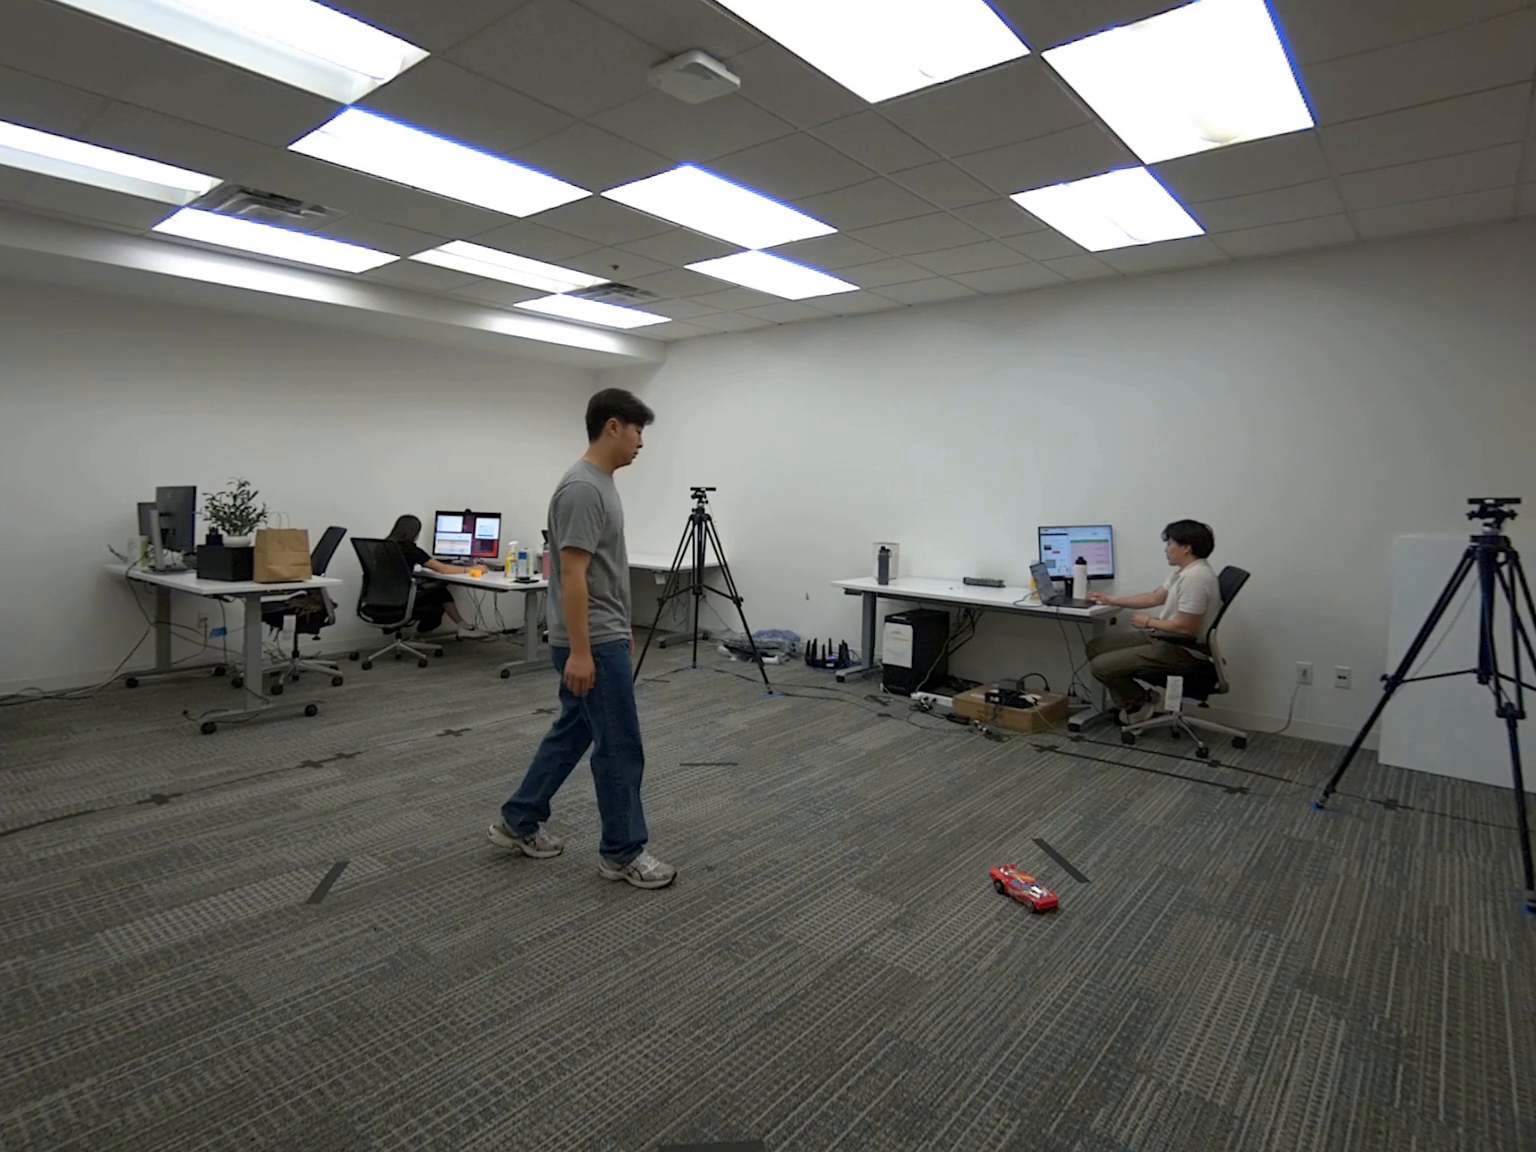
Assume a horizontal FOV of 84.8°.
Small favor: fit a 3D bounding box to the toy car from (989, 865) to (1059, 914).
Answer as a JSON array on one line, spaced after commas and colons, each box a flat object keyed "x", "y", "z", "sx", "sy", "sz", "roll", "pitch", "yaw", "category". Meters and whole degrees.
[{"x": 0.876, "y": 1.081, "z": 2.942, "sx": 0.127, "sy": 0.082, "sz": 0.264, "roll": -1, "pitch": 18, "yaw": -26, "category": "toy car"}]
